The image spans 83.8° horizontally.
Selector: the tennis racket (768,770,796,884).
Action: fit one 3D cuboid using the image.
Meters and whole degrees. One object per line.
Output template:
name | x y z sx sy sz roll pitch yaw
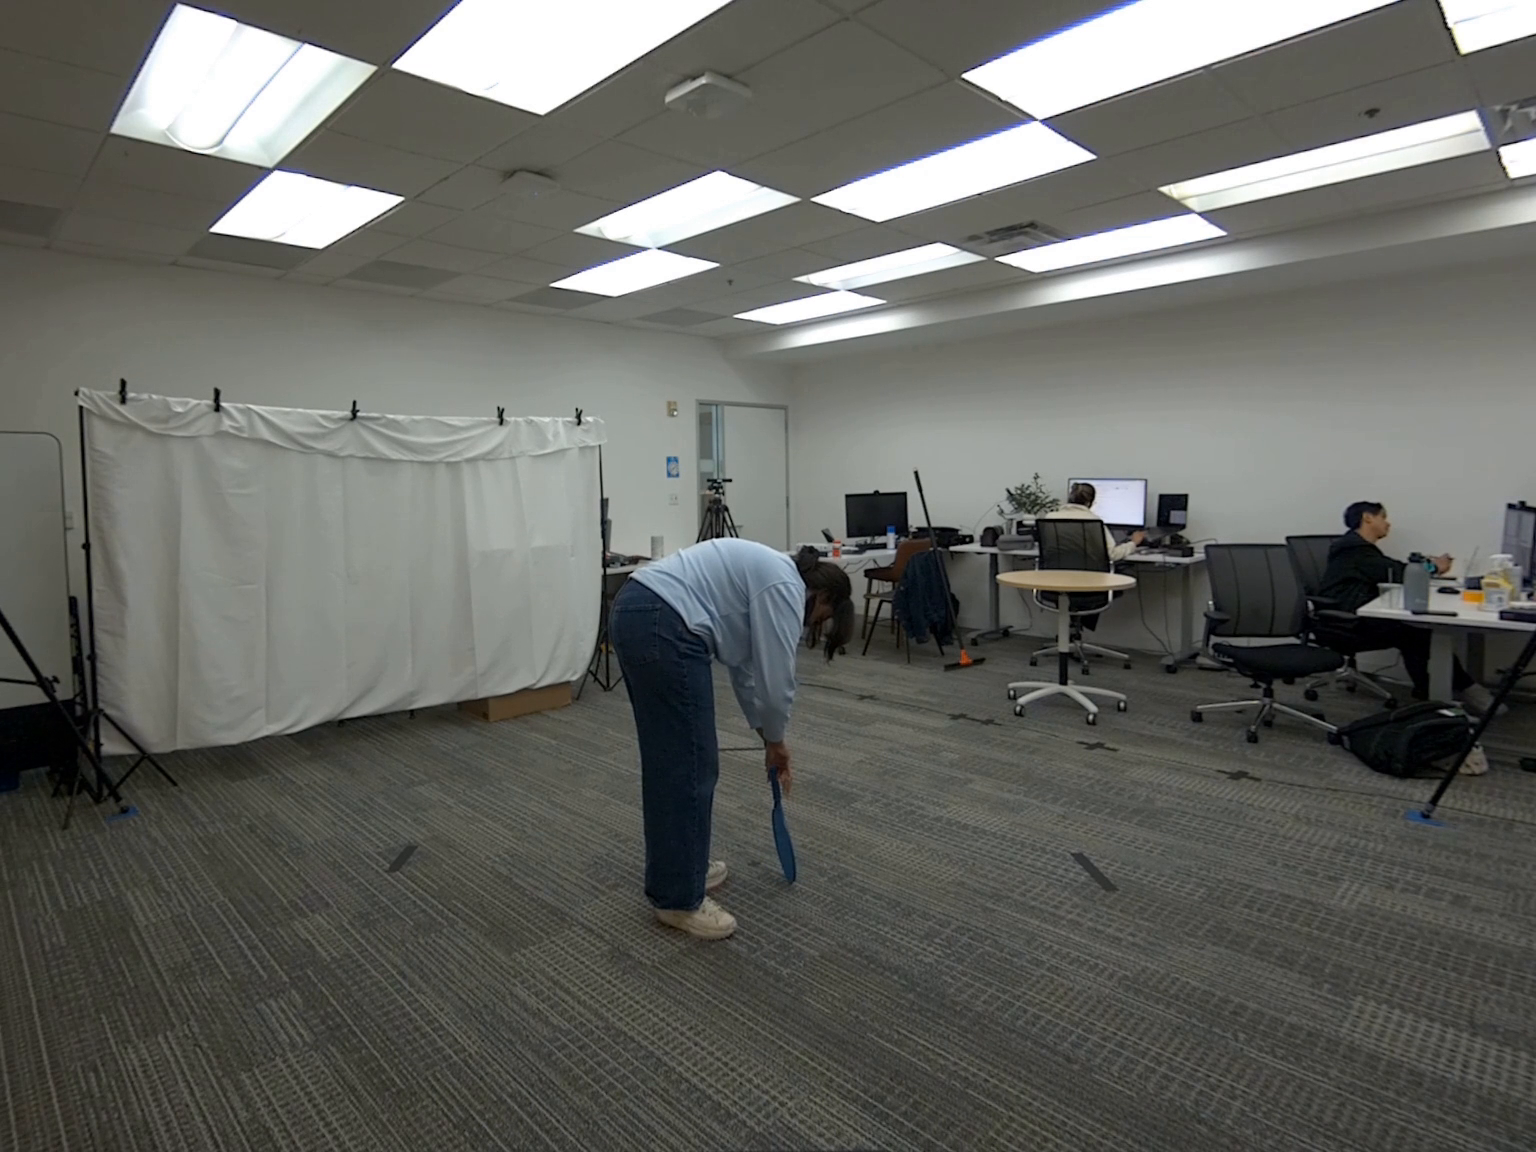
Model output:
tennis racket | 0.037 0.854 2.936 0.032 0.425 0.216 -7 18 5
